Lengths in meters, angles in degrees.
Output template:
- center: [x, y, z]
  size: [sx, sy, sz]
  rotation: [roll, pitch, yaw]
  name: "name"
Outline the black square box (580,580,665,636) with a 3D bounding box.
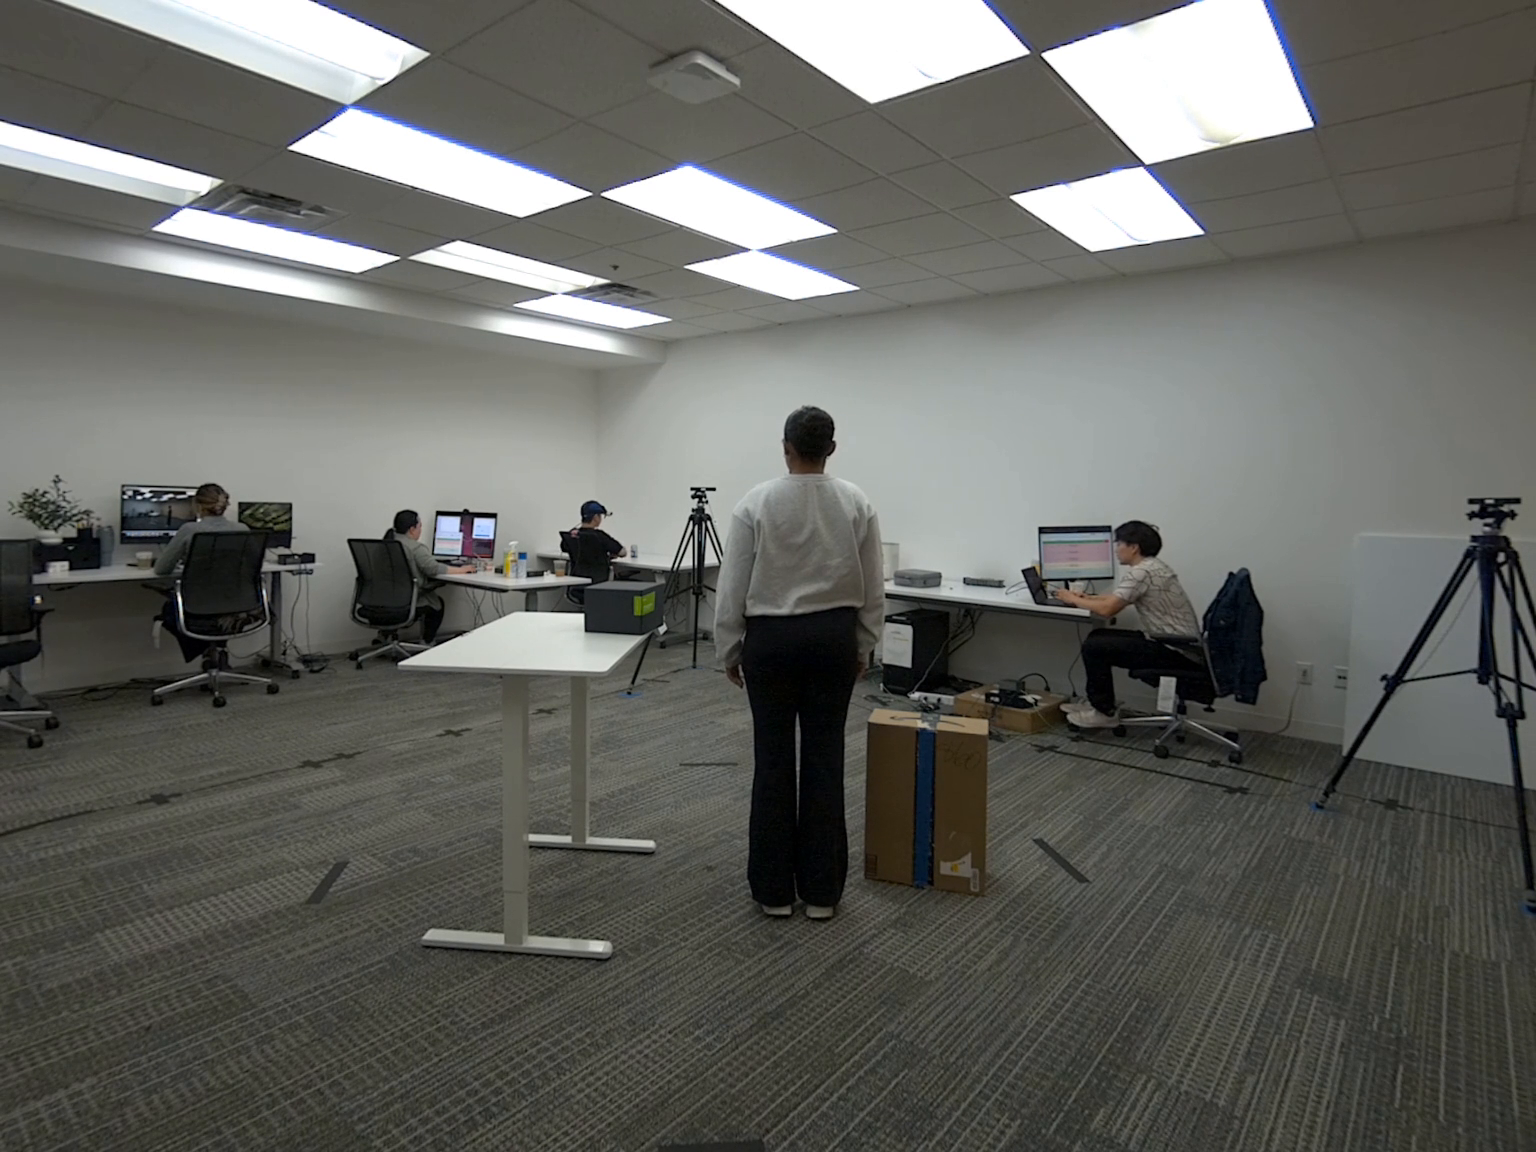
- center: [-0.524, 0.106, 3.013]
  size: [0.220, 0.155, 0.225]
  rotation: [2, 5, 13]
  name: "black square box"
